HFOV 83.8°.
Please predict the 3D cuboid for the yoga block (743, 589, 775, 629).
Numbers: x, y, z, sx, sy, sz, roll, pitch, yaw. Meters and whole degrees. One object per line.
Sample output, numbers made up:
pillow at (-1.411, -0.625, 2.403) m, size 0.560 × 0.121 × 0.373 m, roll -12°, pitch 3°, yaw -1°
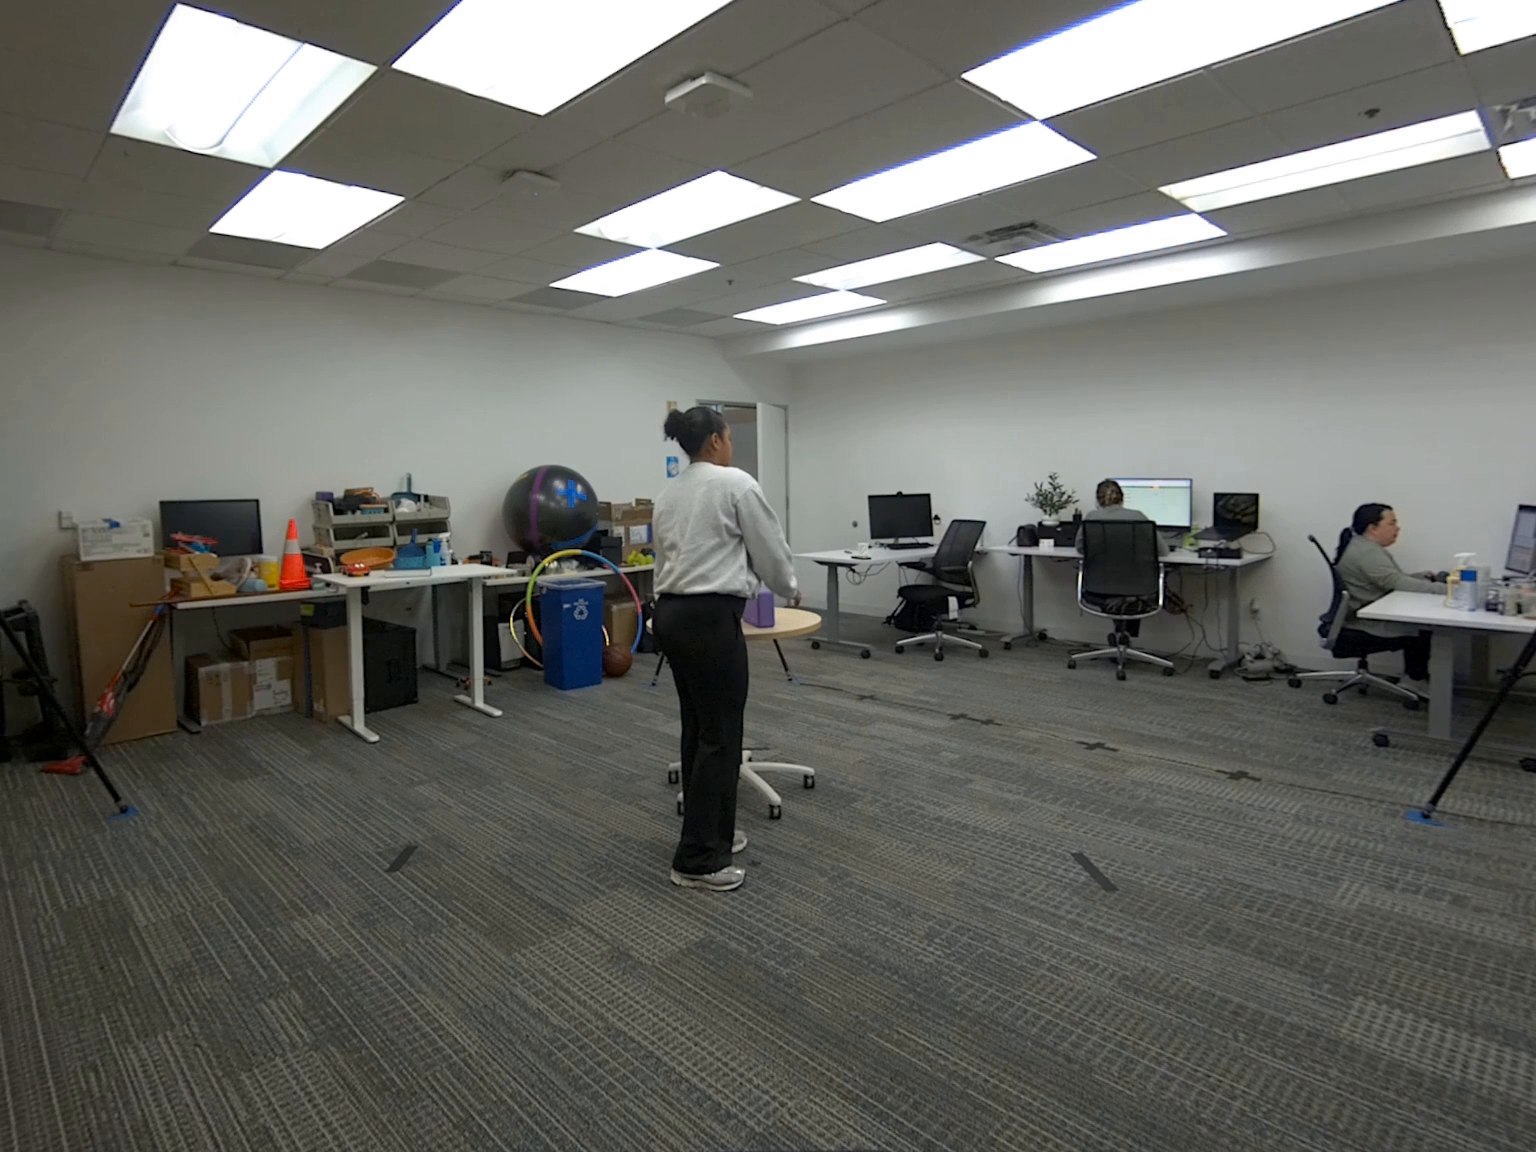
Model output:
yoga block at (-0.041, 0.130, 3.622) m, size 0.075 × 0.148 × 0.233 m, roll -1°, pitch 5°, yaw -16°
